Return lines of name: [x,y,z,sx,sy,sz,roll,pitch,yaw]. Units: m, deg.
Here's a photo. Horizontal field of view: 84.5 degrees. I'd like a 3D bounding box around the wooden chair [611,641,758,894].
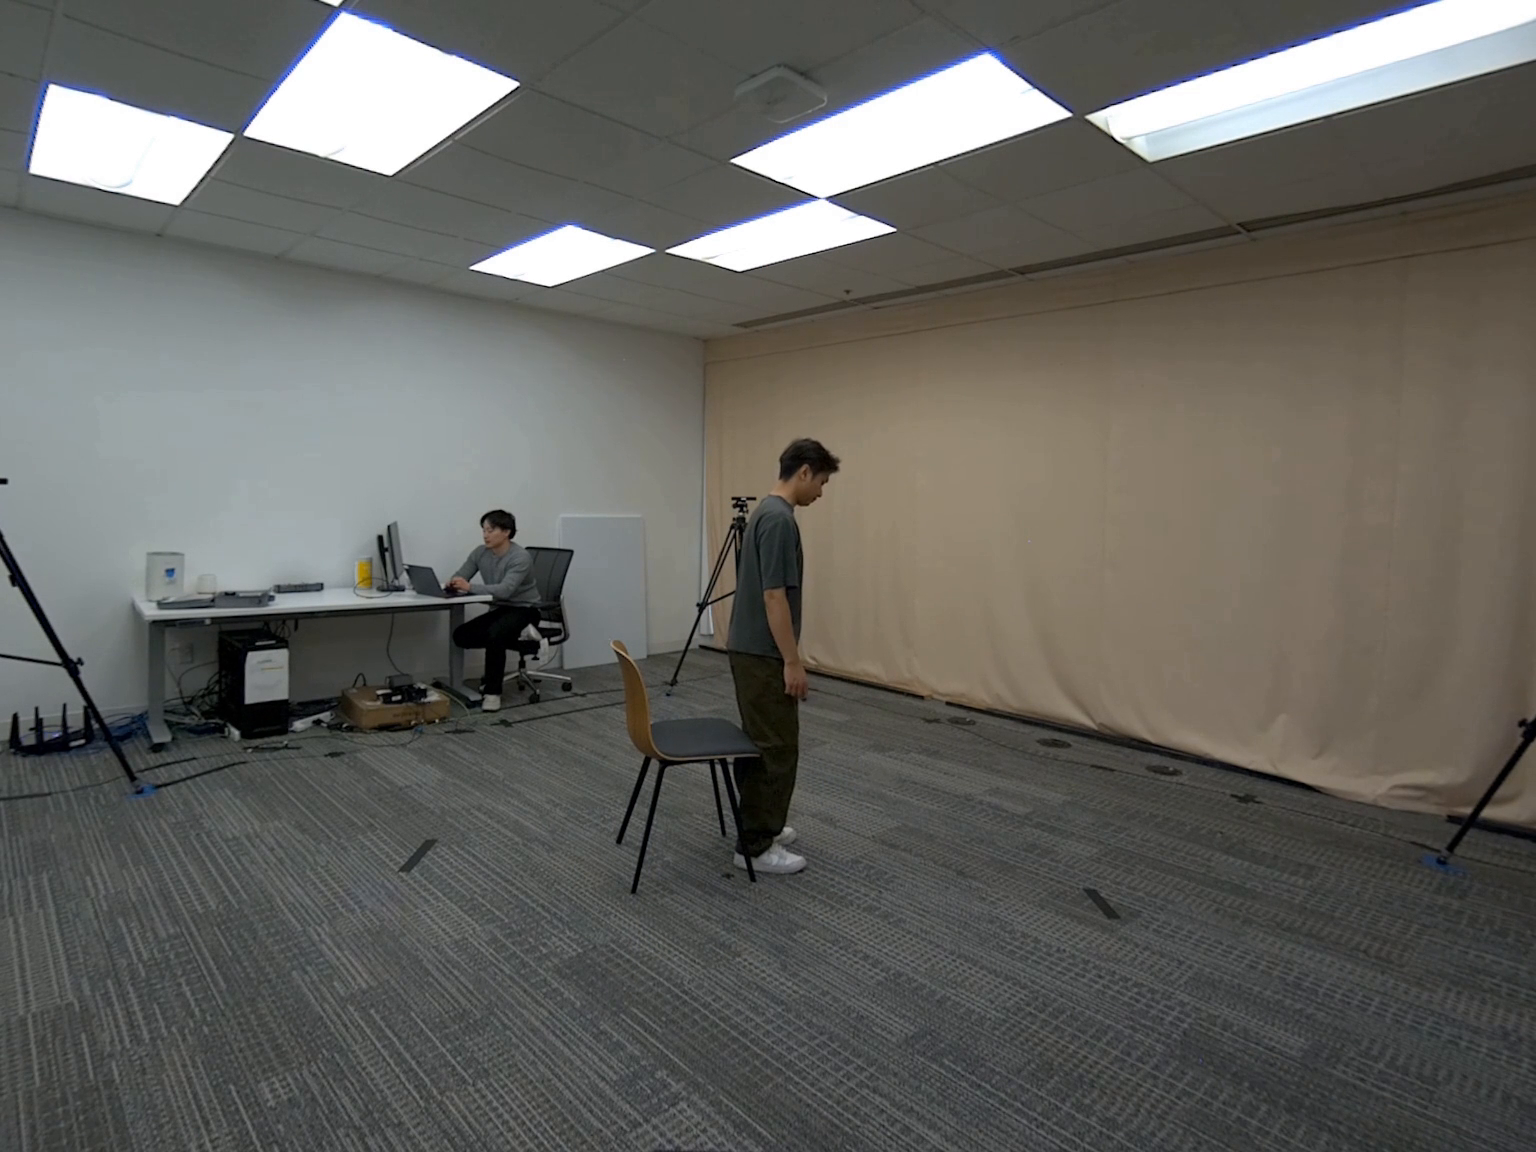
wooden chair: [-0.315,0.665,3.182,0.517,0.875,0.485,-4,4,-16]
